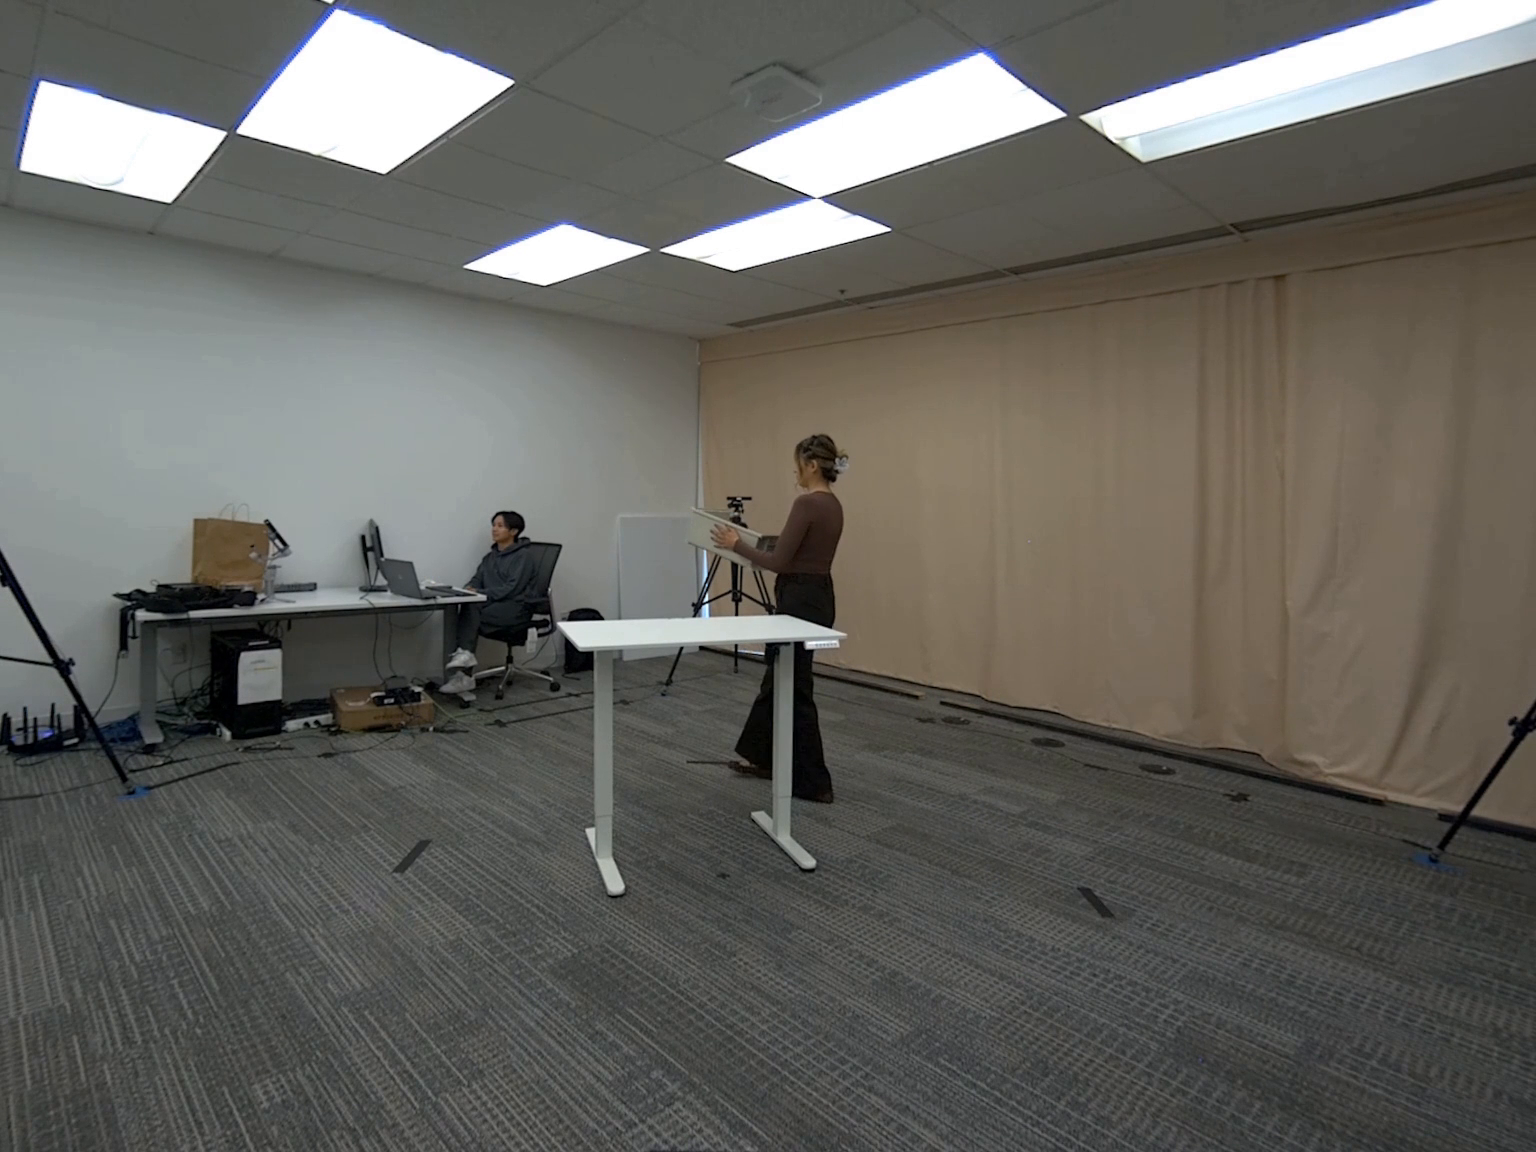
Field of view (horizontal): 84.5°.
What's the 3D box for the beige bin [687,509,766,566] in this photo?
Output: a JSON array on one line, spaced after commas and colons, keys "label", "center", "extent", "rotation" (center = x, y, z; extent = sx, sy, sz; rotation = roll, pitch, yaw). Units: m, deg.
[{"label": "beige bin", "center": [-0.146, -0.184, 4.149], "extent": [0.433, 0.188, 0.369], "rotation": [22, 14, 29]}]
